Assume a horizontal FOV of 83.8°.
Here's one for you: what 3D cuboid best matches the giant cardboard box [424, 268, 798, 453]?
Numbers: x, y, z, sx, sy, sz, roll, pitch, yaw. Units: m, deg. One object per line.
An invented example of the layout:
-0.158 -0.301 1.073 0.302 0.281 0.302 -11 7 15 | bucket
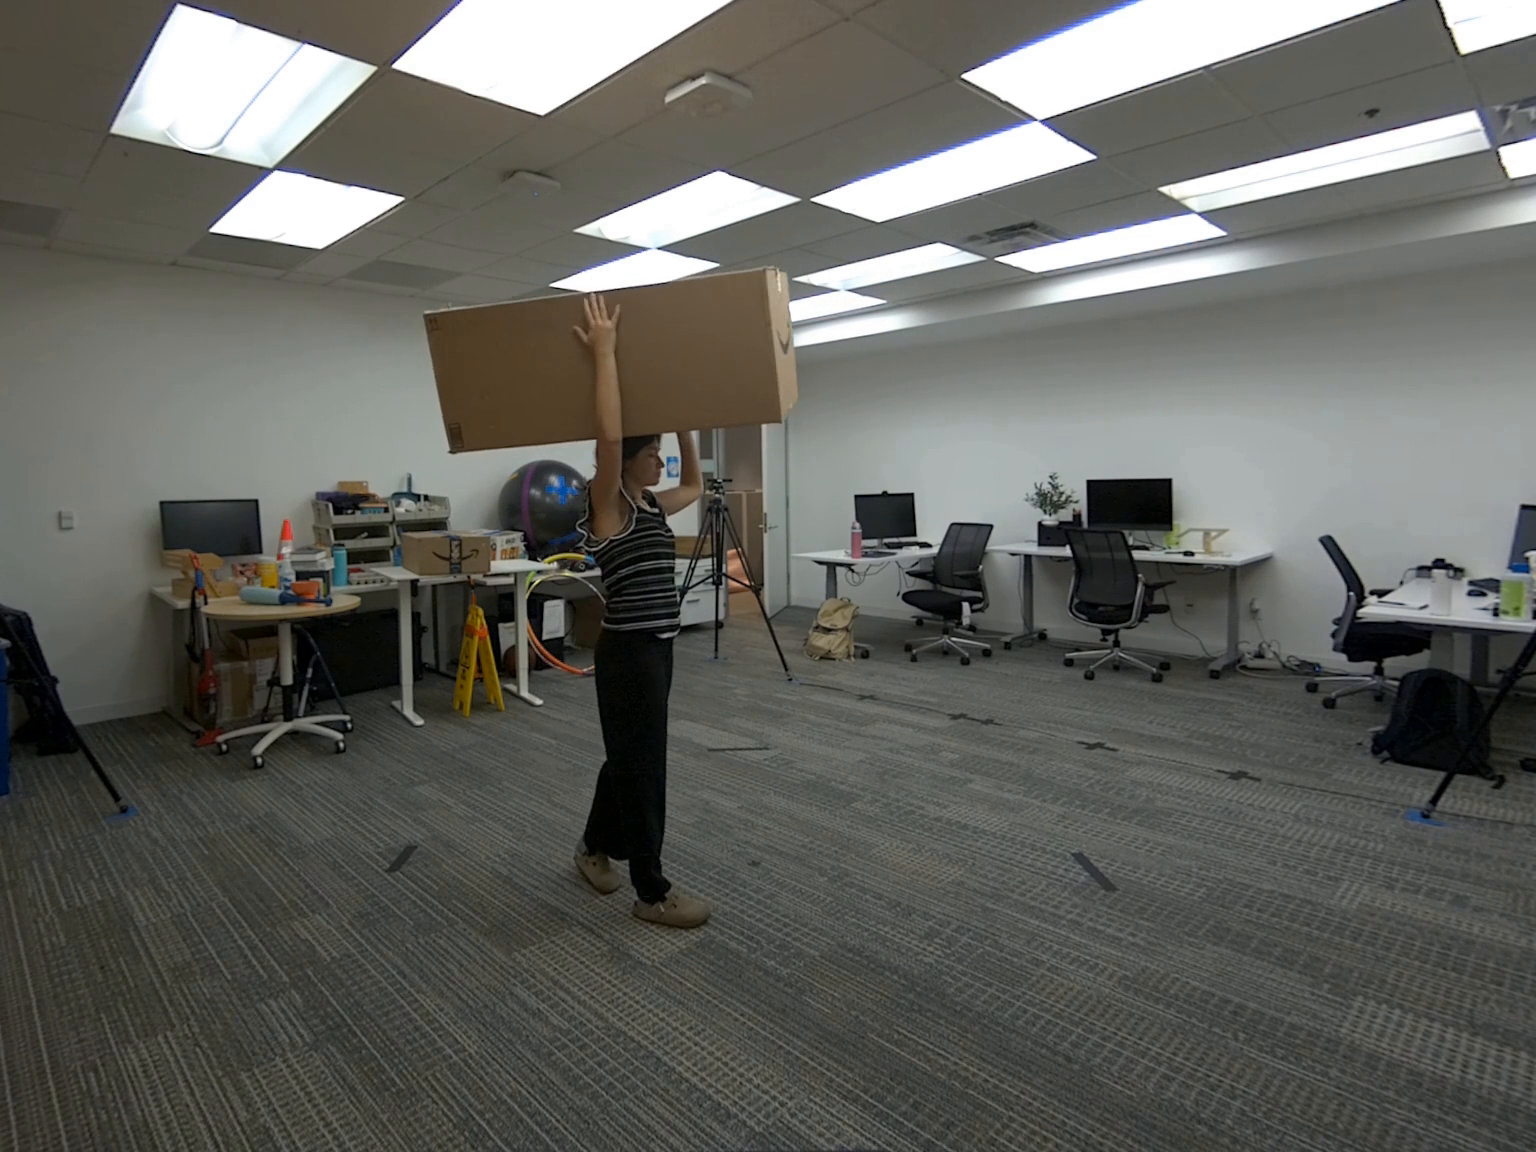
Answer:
-0.452 -0.694 2.709 1.036 0.420 0.580 -4 16 11 | giant cardboard box
